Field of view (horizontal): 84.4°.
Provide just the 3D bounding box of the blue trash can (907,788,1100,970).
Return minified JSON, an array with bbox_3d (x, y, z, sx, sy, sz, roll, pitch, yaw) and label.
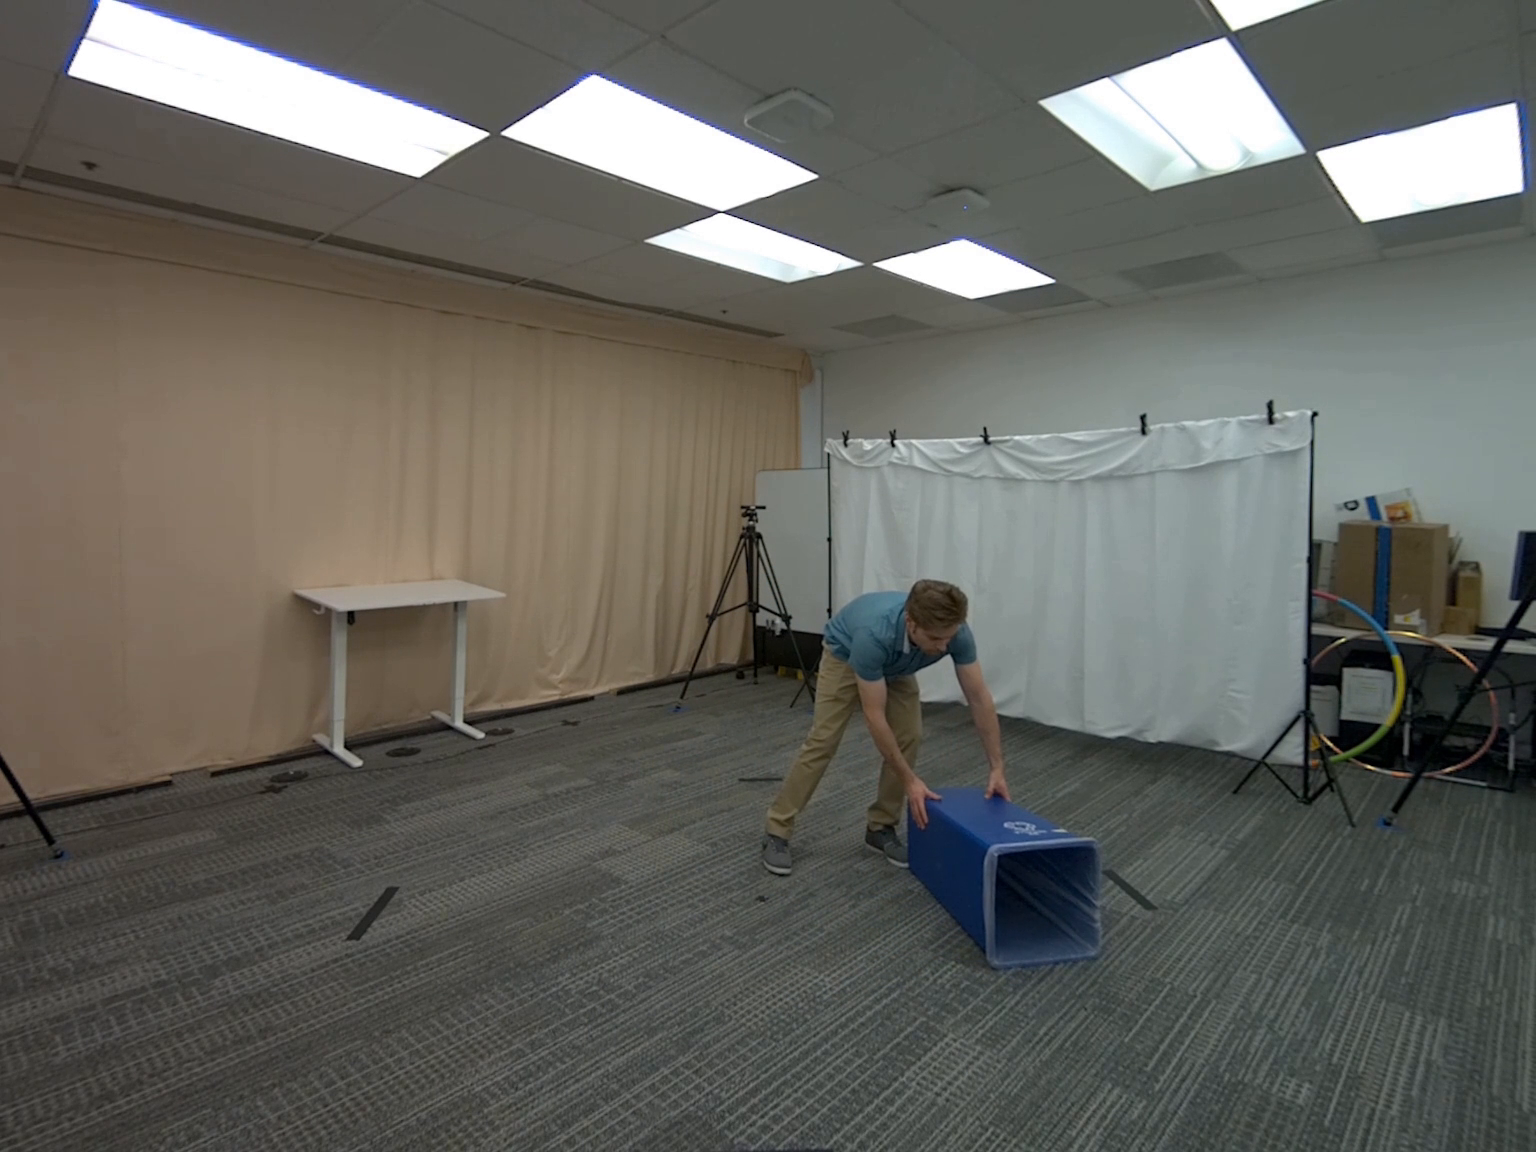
[{"bbox_3d":[0.766,0.984,2.889,0.369,0.378,0.723,-1,1,-13],"label":"blue trash can"}]
